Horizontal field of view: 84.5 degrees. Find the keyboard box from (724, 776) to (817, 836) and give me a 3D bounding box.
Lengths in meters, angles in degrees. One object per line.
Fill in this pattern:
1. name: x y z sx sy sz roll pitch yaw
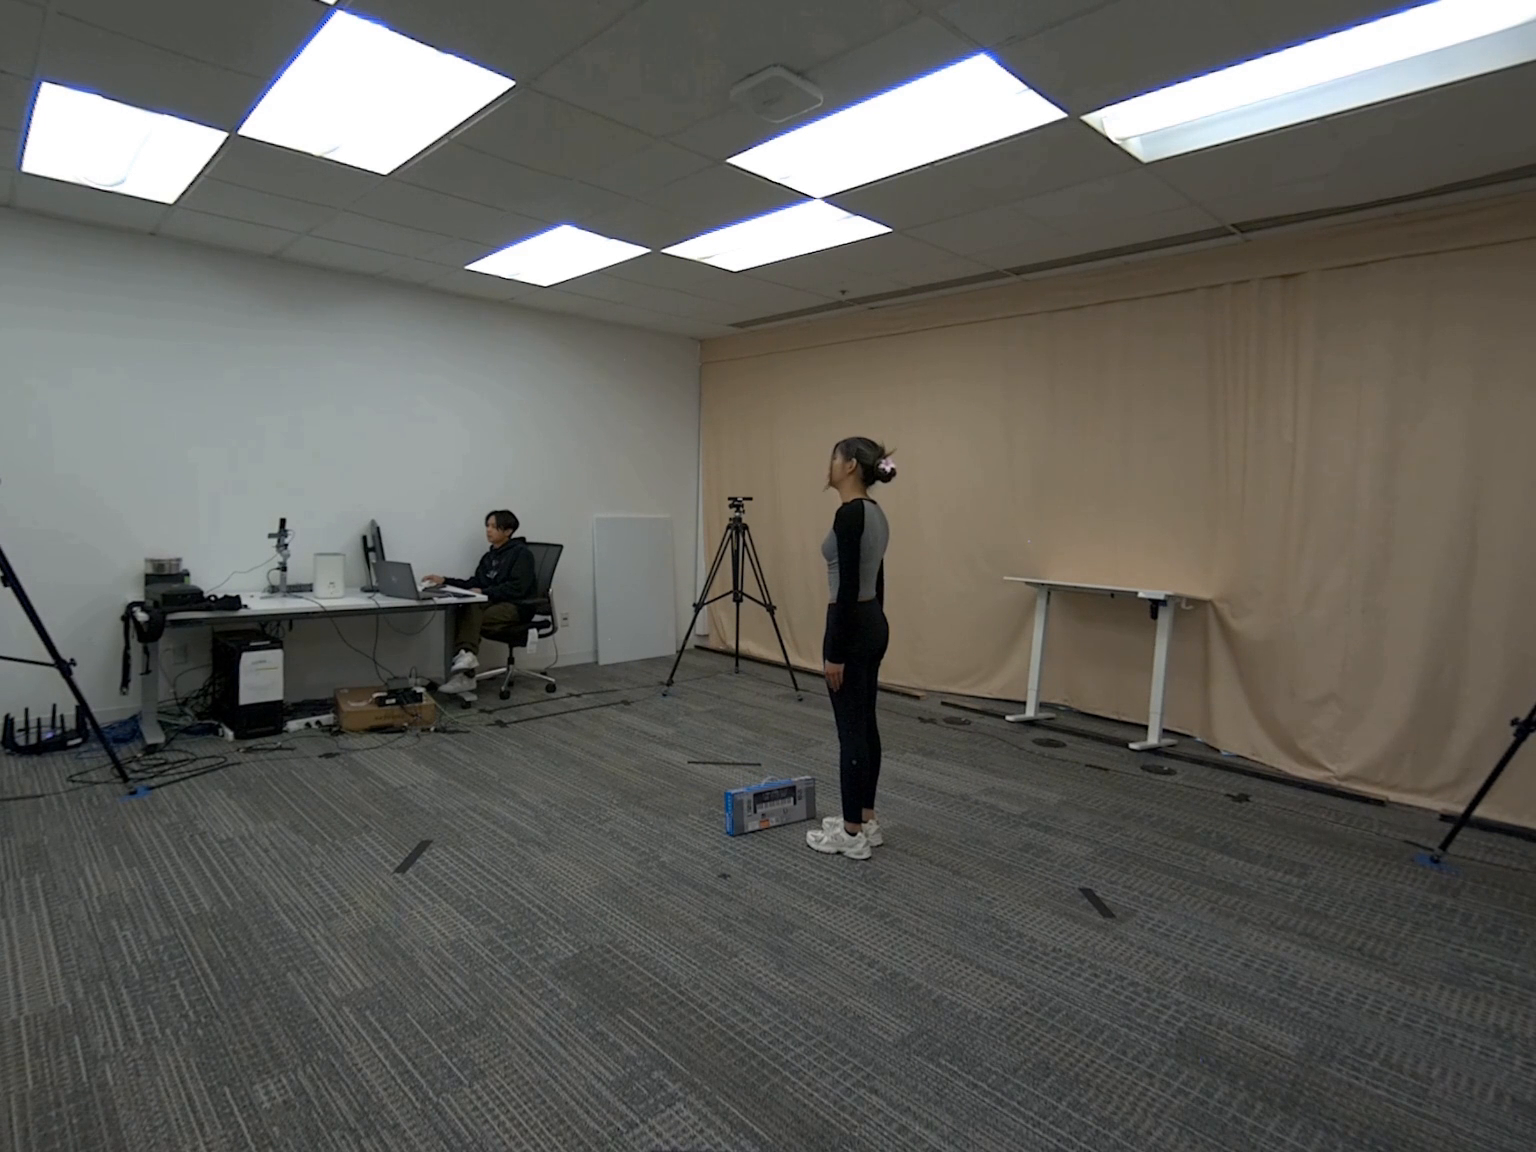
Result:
1. keyboard box: 0.008 0.980 3.606 0.427 0.176 0.060 -1 -2 -34
